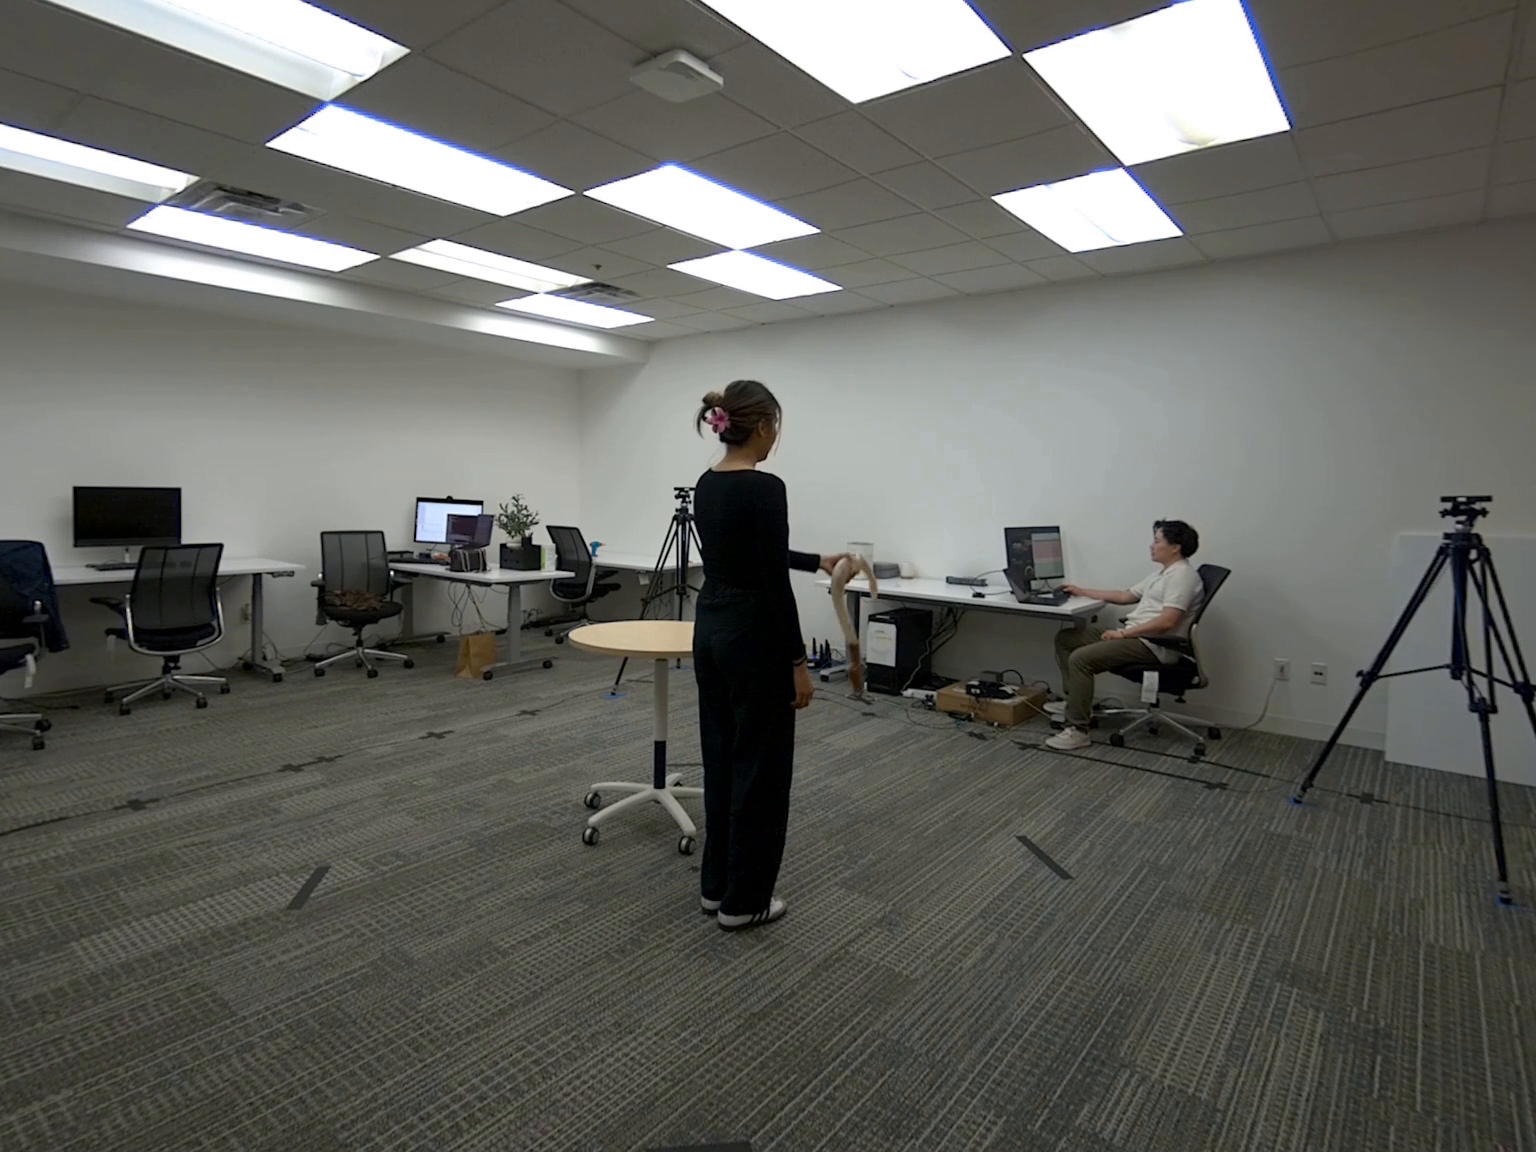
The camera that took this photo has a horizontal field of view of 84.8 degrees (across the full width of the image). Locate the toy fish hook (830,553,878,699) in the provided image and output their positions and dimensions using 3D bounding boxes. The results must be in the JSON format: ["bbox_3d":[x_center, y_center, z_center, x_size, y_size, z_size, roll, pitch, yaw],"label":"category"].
[{"bbox_3d":[0.319,0.146,3.053,0.220,0.501,0.050,-12,11,-31],"label":"toy fish hook"}]
